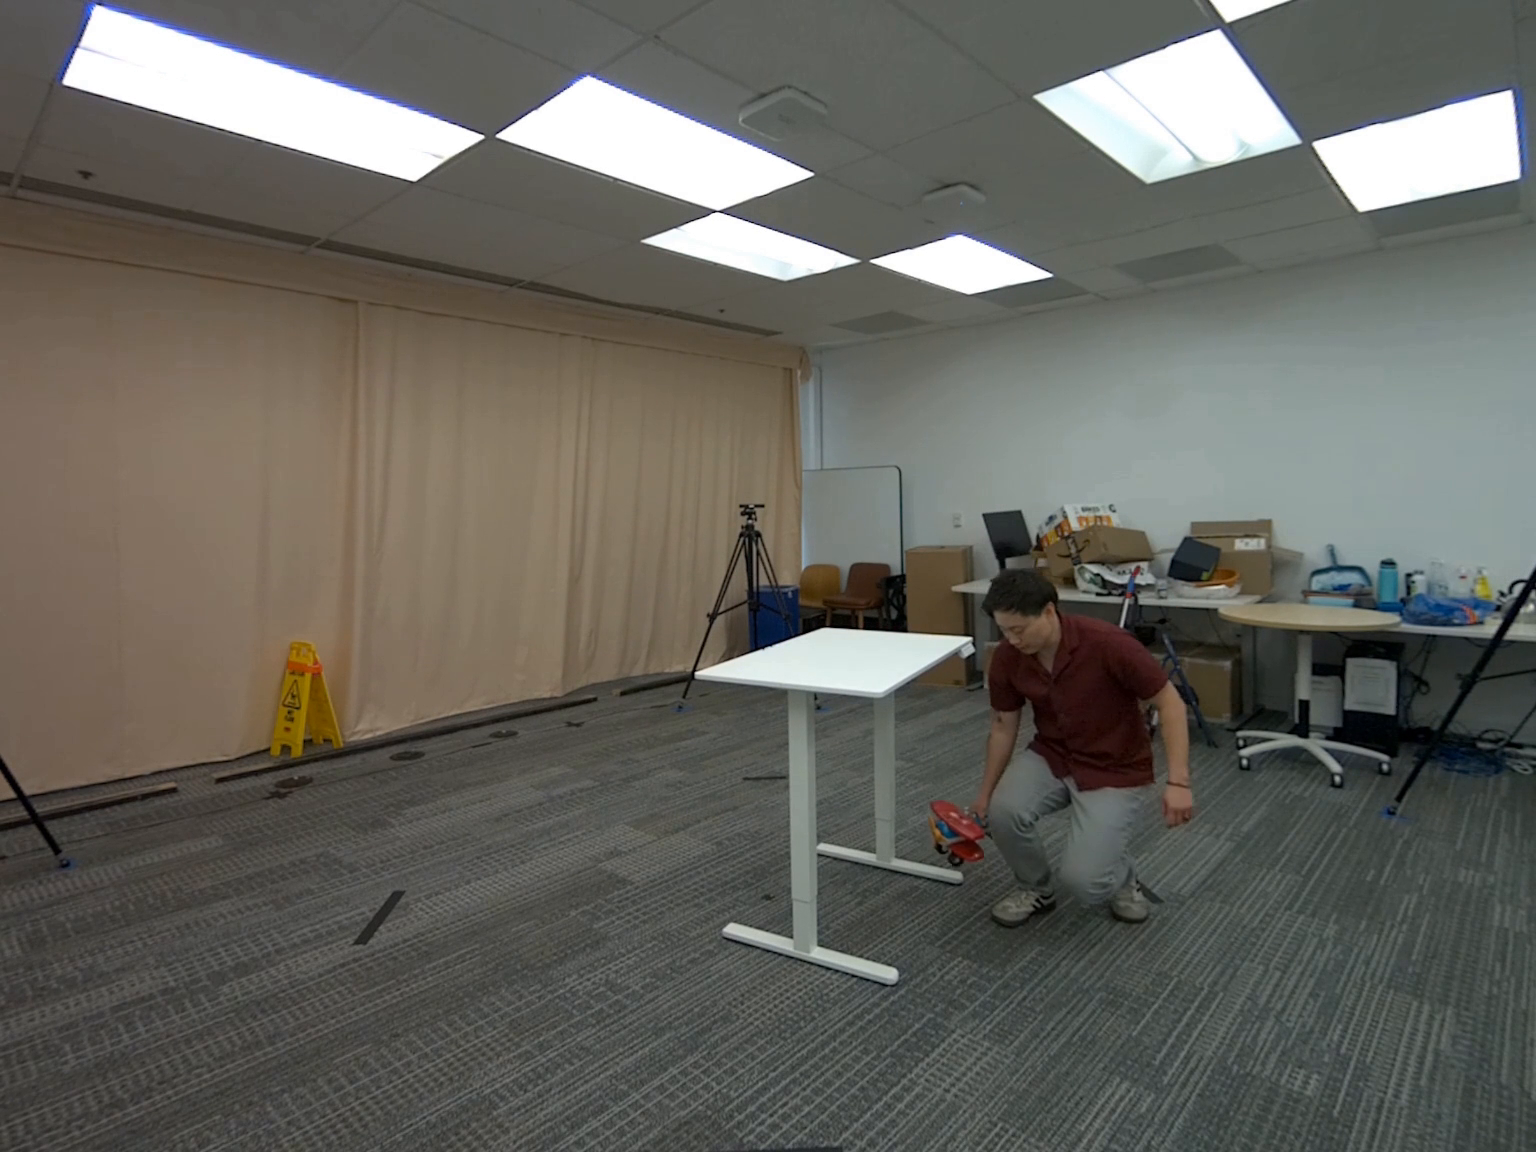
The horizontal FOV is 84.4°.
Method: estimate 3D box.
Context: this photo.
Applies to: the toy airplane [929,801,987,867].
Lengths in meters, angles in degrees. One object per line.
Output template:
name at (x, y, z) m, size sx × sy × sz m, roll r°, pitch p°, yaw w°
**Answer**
toy airplane at (0.697, 0.884, 2.963) m, size 0.259 × 0.154 × 0.255 m, roll 4°, pitch 27°, yaw 43°
